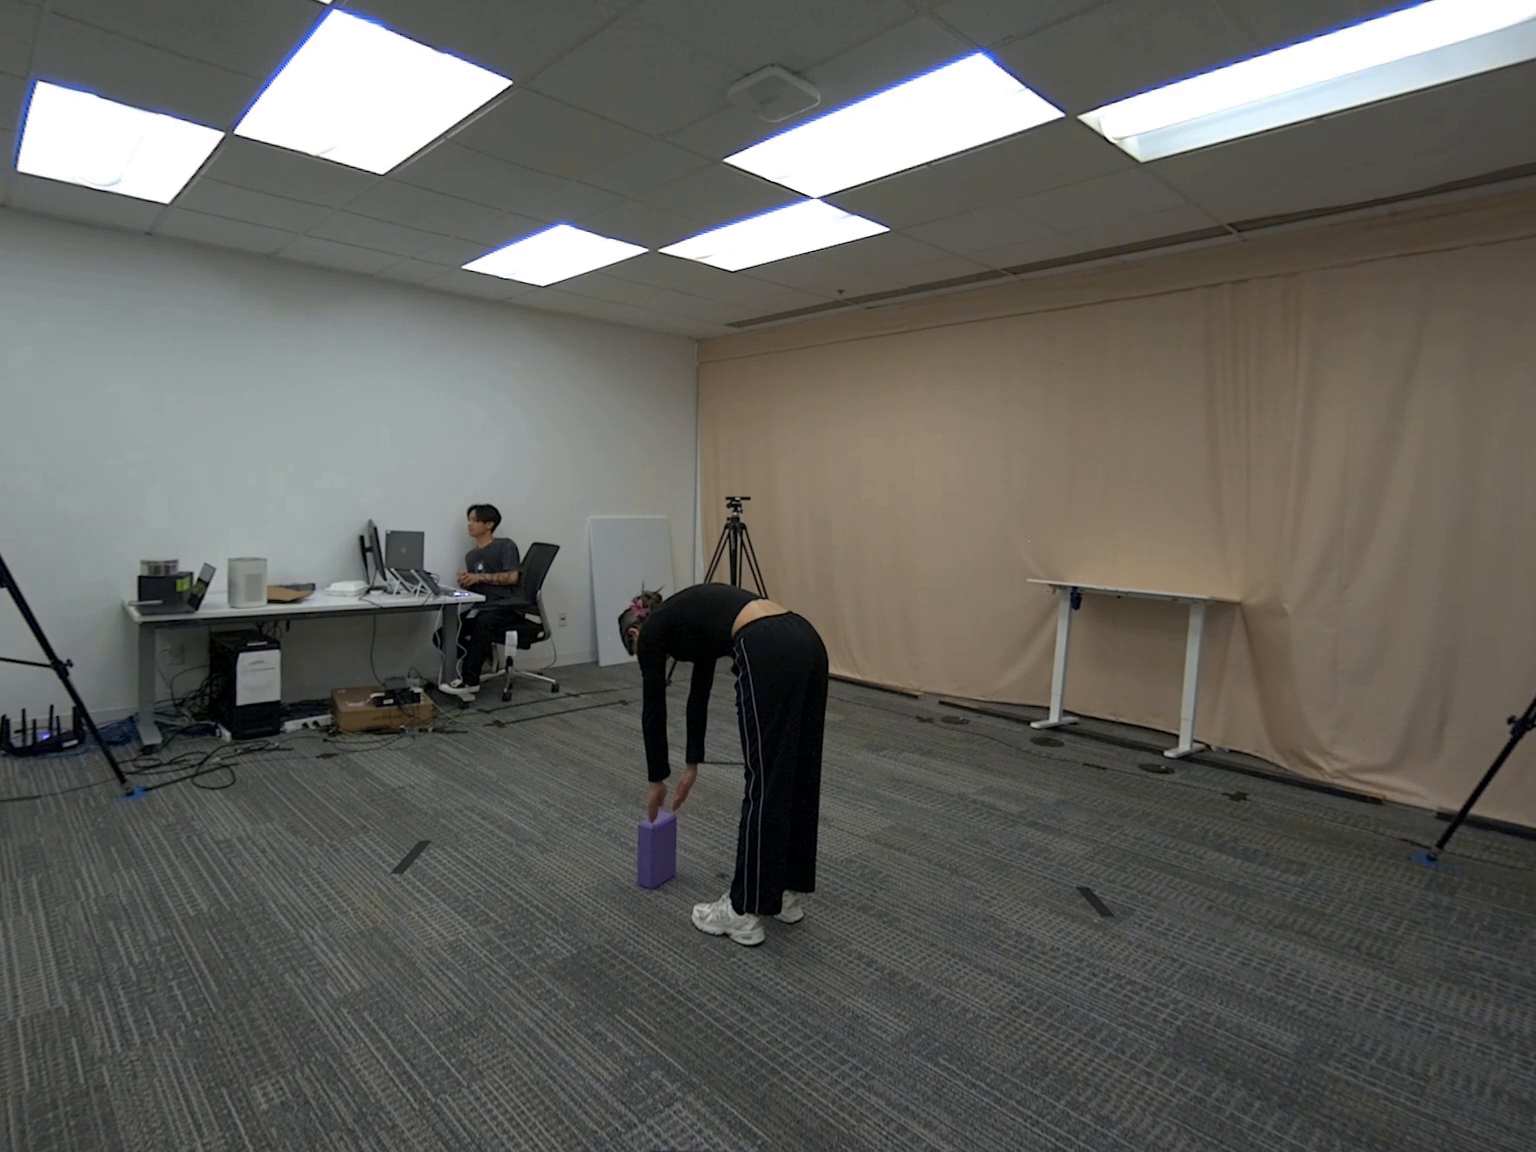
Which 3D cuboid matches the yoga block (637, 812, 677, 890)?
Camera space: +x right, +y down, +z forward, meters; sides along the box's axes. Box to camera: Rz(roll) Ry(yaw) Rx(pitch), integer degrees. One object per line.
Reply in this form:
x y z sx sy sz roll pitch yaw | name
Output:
-0.409 0.991 3.043 0.078 0.229 0.146 3 5 29 | yoga block
